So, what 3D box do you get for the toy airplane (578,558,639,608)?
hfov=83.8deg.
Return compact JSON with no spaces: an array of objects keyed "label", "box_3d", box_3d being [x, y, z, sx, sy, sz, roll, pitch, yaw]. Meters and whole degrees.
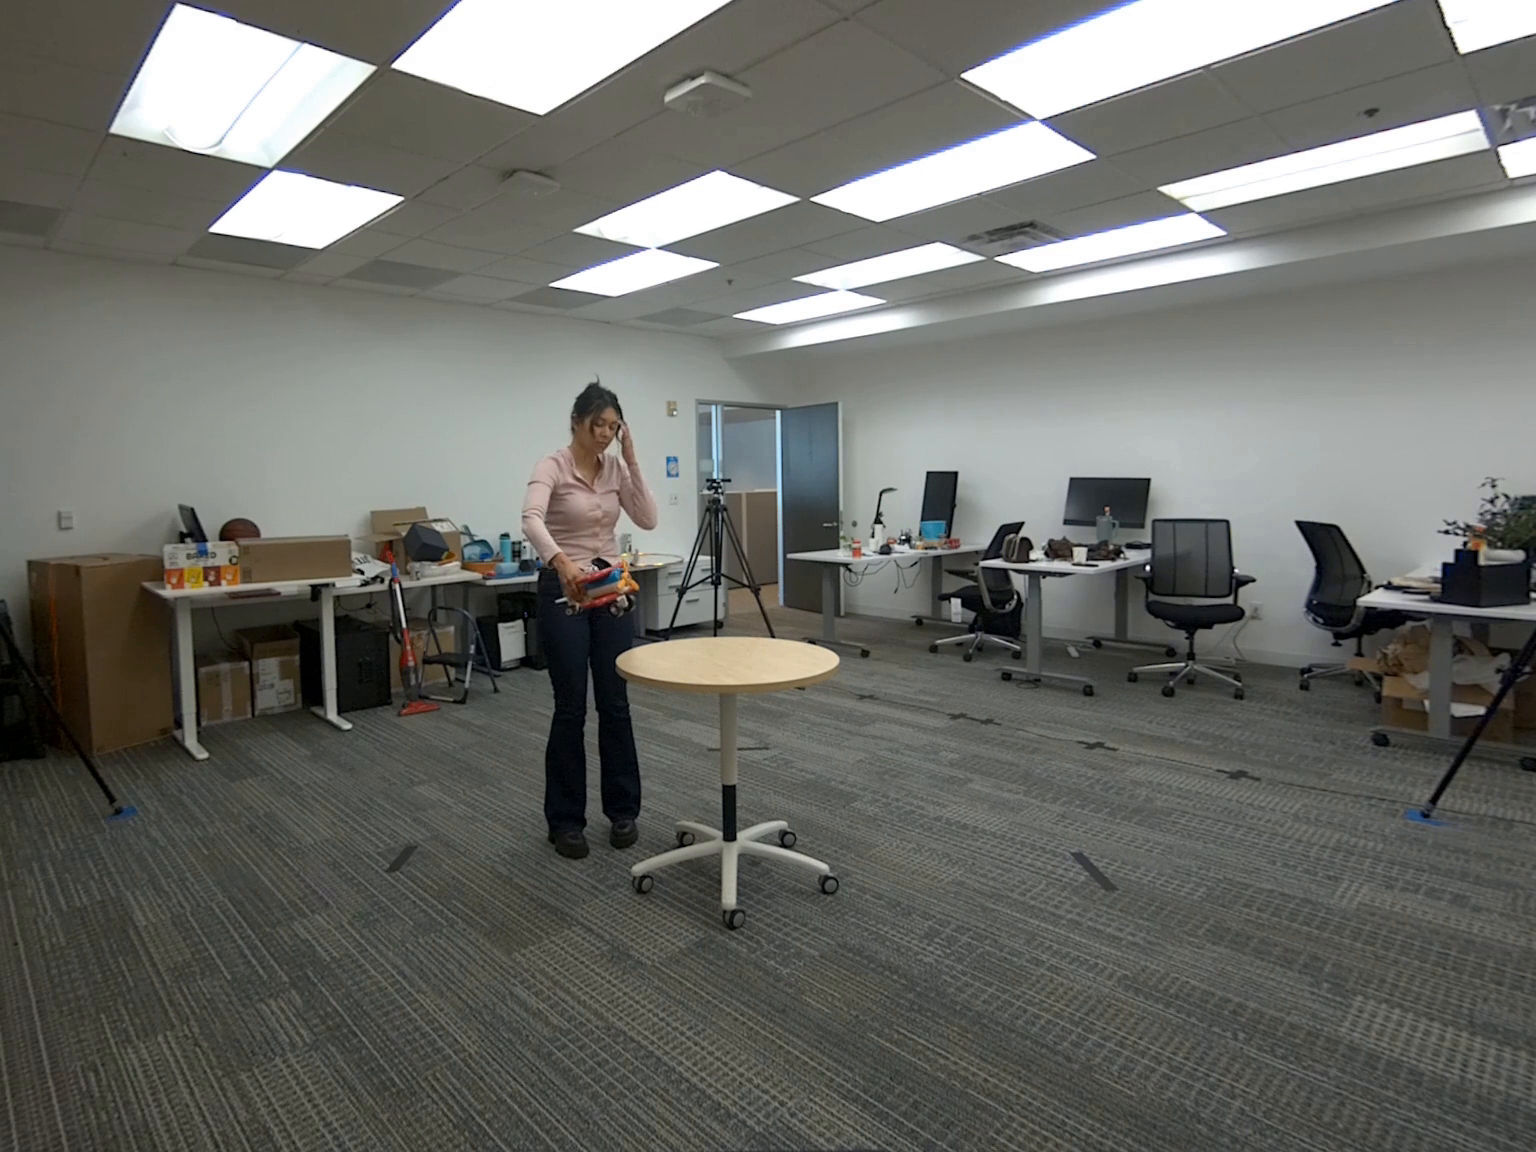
[{"label":"toy airplane","box_3d":[-0.557,0.054,2.716,0.258,0.155,0.255,-6,10,-7]}]
